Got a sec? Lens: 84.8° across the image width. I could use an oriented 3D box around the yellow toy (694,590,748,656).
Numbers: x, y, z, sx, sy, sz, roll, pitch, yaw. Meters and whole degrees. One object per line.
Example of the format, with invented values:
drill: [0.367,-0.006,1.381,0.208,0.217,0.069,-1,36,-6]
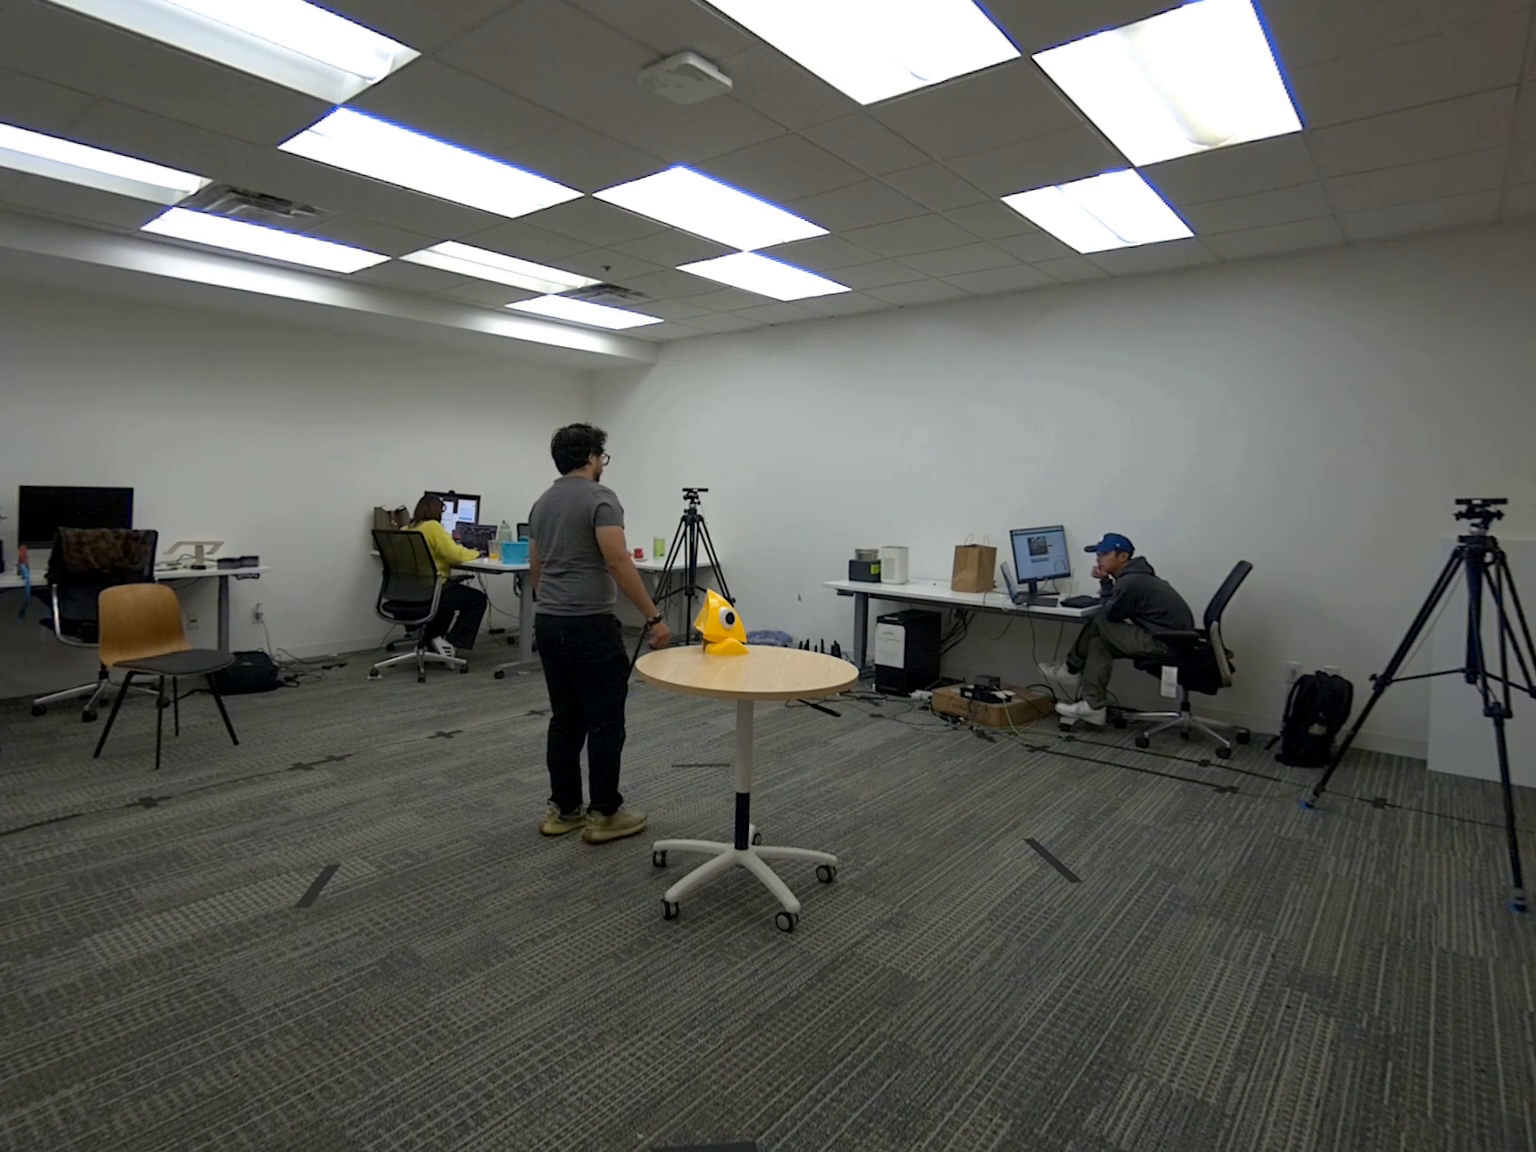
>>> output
yellow toy: [-0.178,0.161,3.199,0.190,0.230,0.208,1,4,-14]
